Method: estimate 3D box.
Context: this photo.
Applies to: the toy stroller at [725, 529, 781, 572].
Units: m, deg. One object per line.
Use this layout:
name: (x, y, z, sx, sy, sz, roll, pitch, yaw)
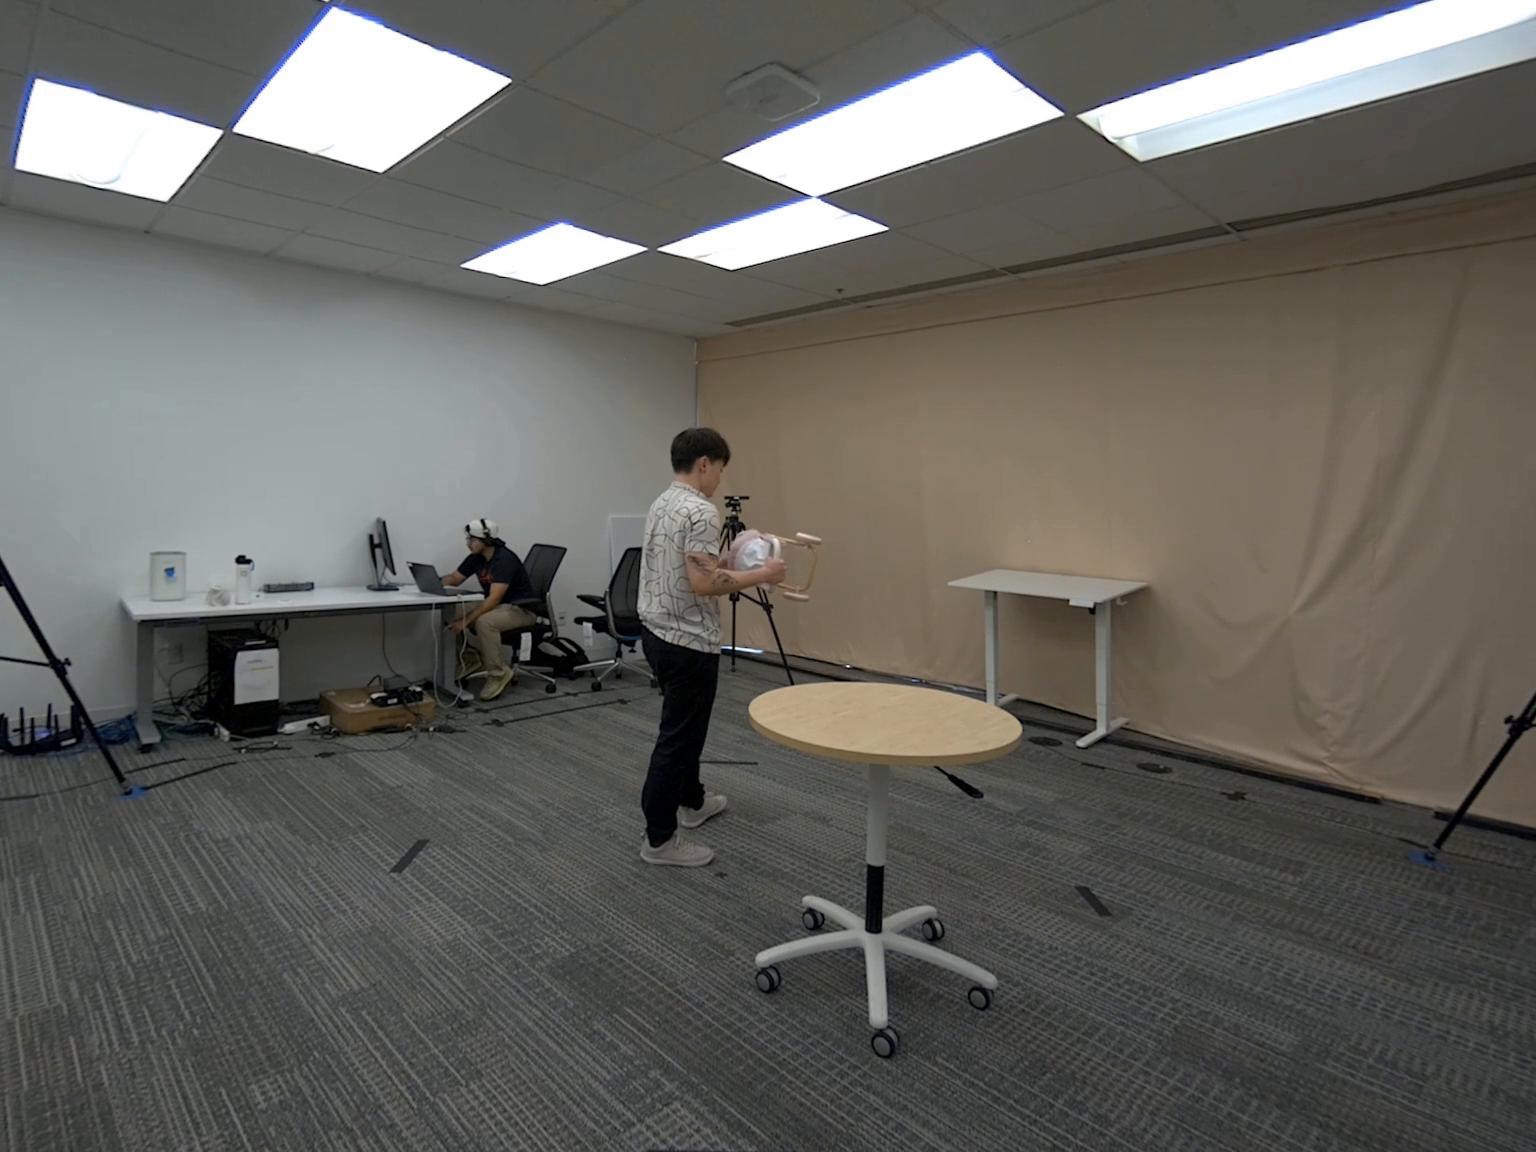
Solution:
toy stroller: (-0.020, -0.069, 3.430, 0.349, 0.280, 0.524, 19, 7, 24)
